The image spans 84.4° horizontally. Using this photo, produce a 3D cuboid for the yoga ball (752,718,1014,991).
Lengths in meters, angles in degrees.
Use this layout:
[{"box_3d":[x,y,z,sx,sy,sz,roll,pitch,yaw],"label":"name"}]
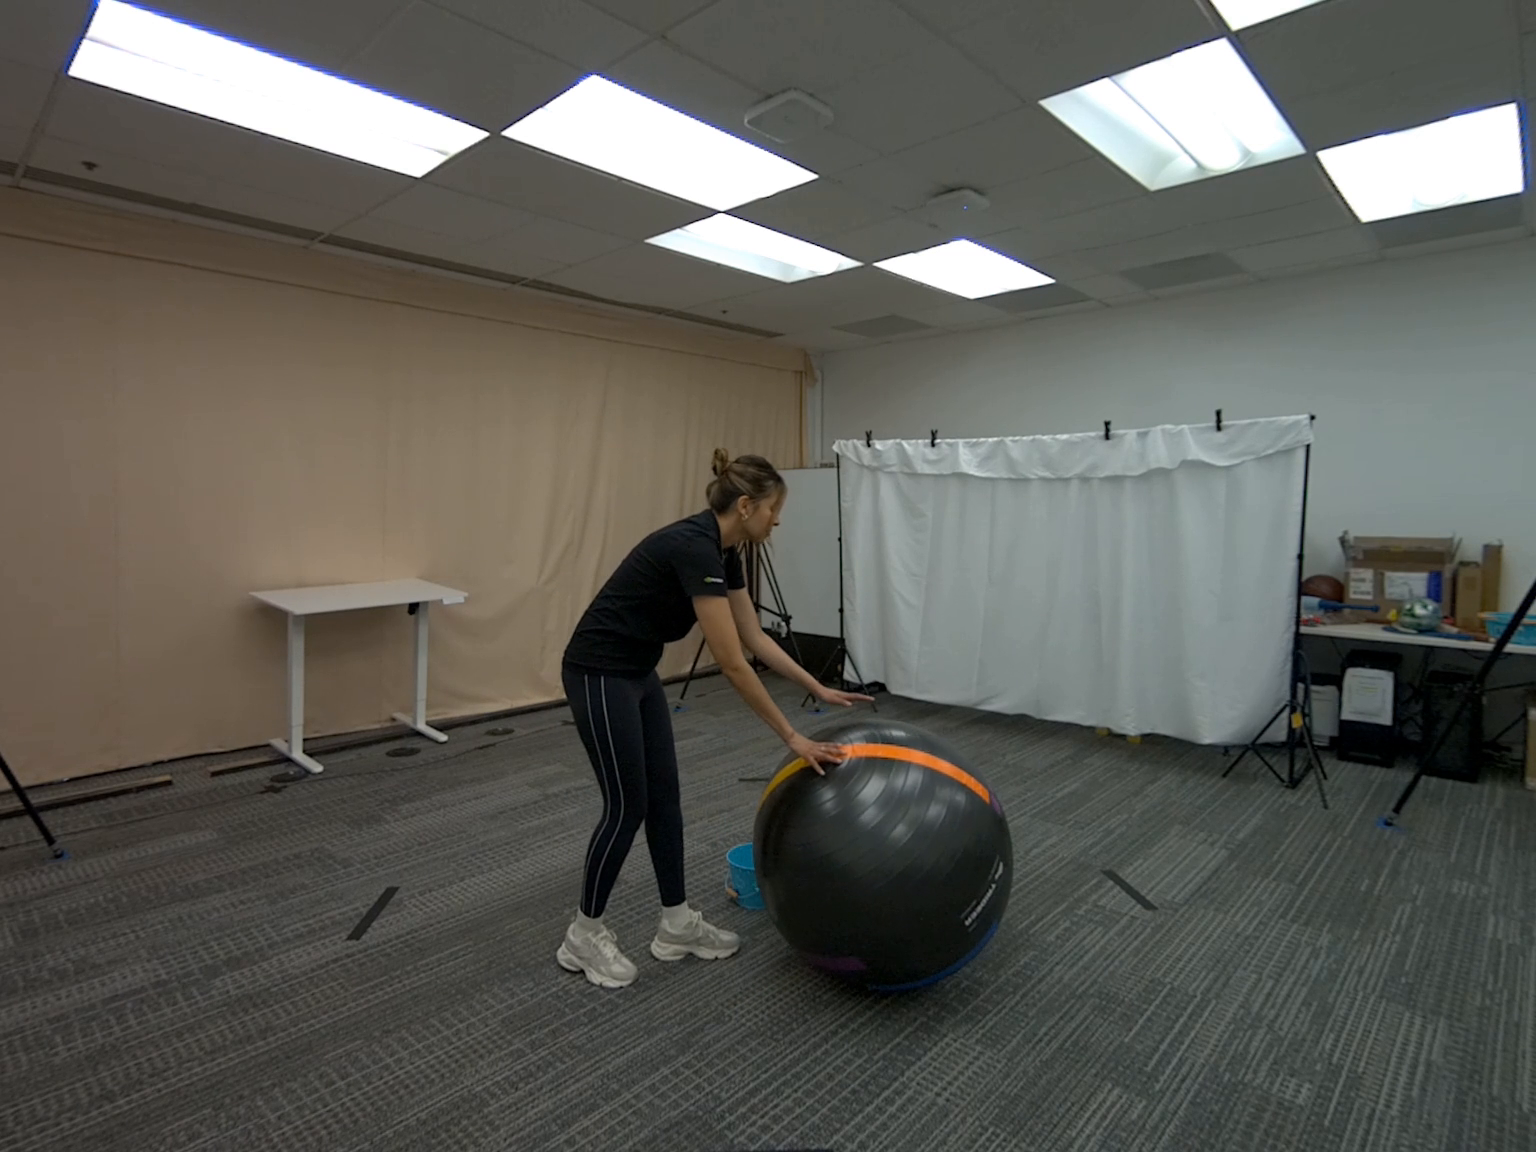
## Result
[{"box_3d":[0.338,0.822,2.506,0.757,0.756,0.760,0,4,-2],"label":"yoga ball"}]
